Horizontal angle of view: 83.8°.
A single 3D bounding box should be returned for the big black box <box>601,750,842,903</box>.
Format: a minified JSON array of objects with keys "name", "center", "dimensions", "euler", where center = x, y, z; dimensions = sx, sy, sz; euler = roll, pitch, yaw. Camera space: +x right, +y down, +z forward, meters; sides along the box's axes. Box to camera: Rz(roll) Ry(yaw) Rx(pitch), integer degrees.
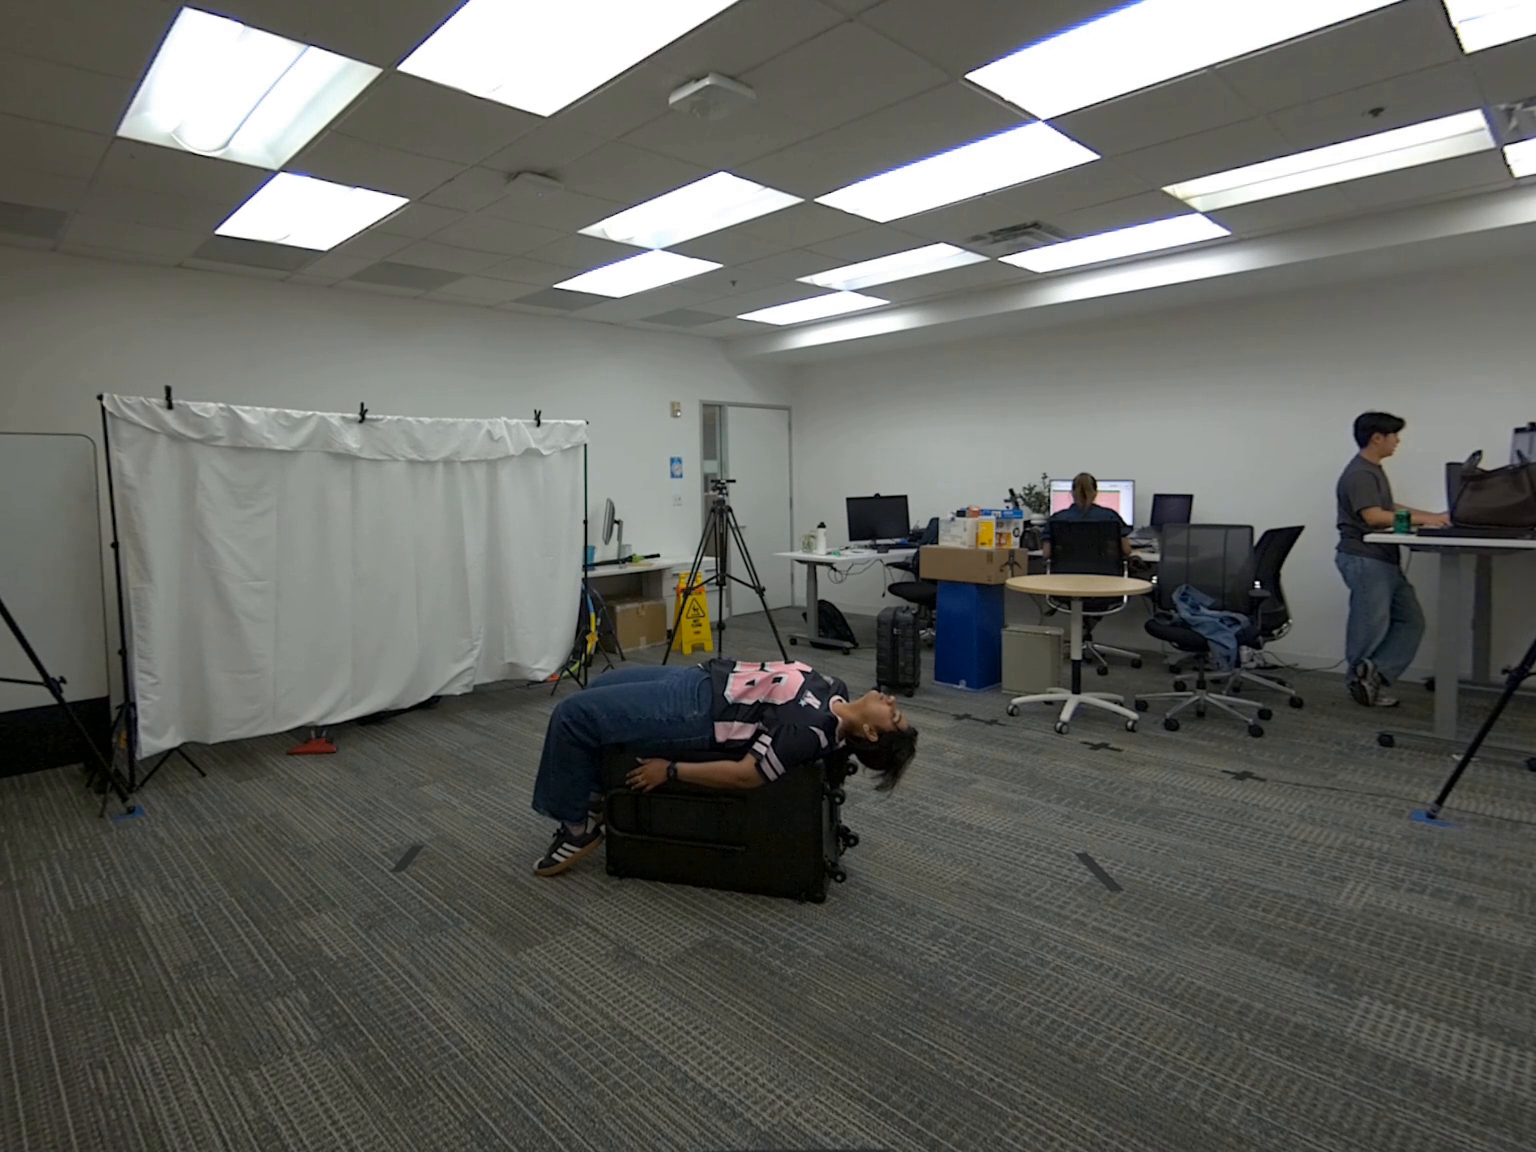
[{"name":"big black box","center":[-0.119,0.798,3.051],"dimensions":[0.883,0.522,0.380],"euler":[1,4,17]}]
